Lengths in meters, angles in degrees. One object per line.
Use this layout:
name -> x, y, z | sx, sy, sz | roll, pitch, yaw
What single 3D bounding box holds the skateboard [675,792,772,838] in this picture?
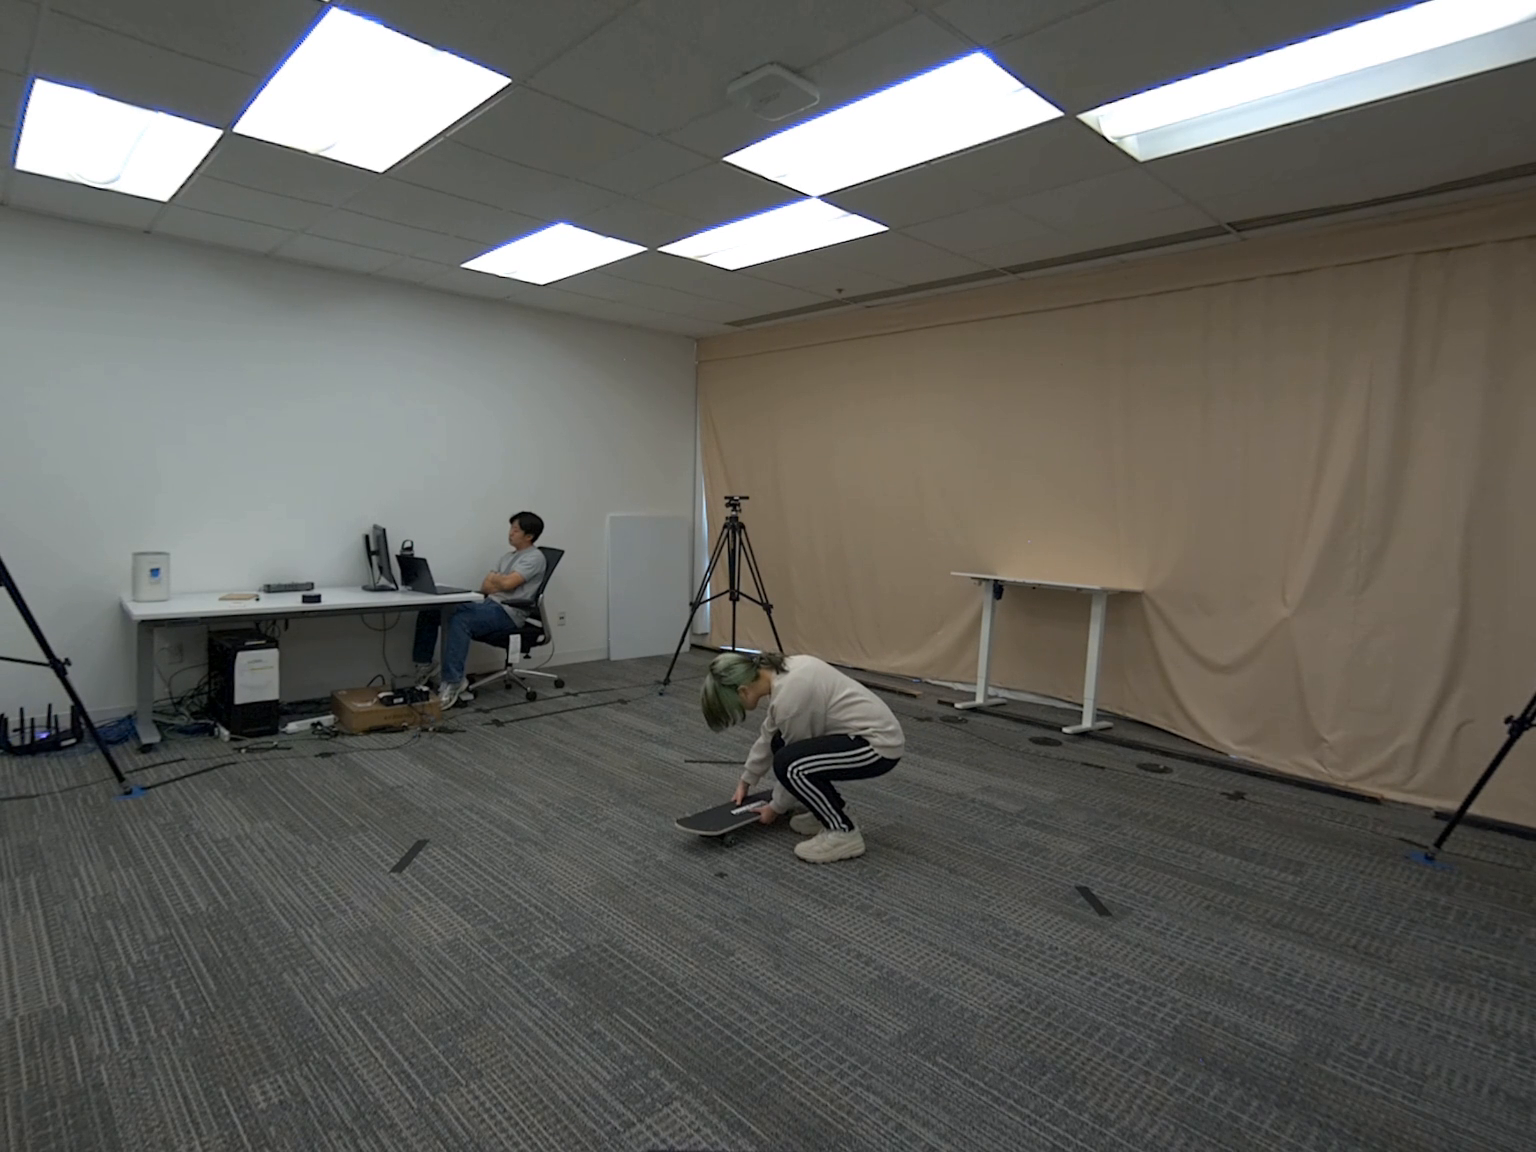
skateboard -> -0.084, 1.001, 3.554 | 0.198, 0.110, 0.768 | 5, 6, 42
